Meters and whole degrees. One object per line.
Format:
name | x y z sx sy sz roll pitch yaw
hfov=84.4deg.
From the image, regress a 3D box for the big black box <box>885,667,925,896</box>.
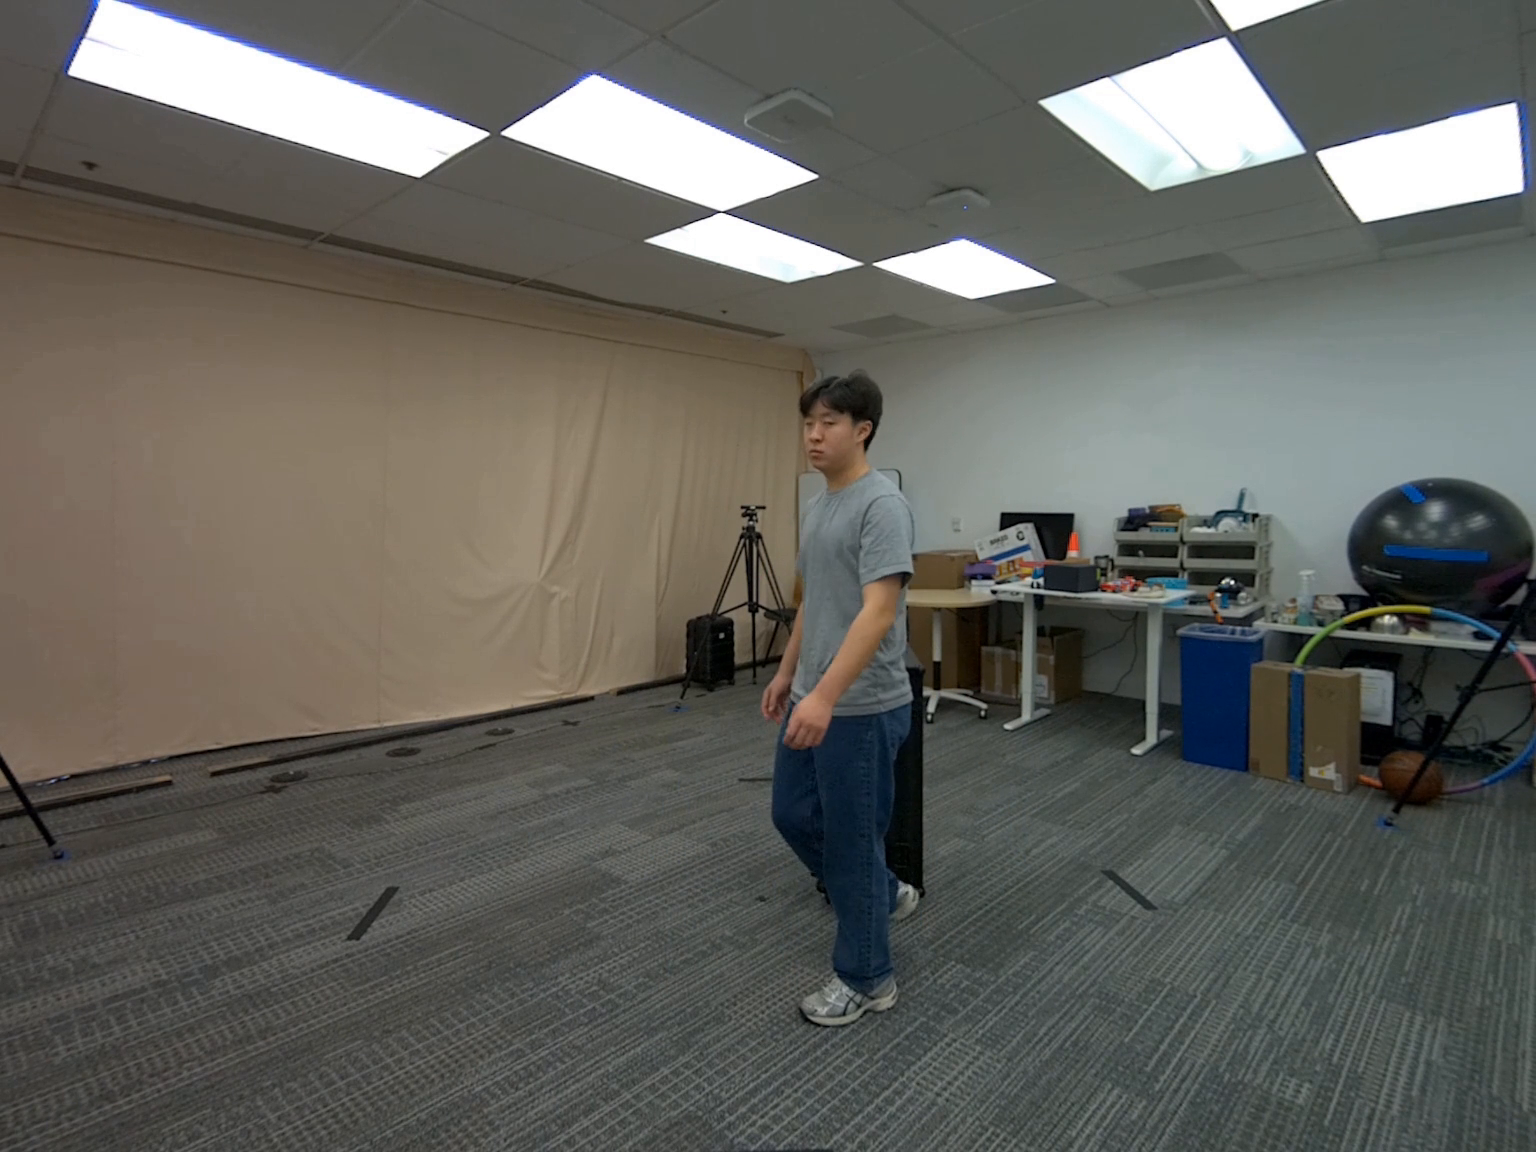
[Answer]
big black box | 0.362 0.710 3.069 0.399 0.860 0.518 0 3 6
